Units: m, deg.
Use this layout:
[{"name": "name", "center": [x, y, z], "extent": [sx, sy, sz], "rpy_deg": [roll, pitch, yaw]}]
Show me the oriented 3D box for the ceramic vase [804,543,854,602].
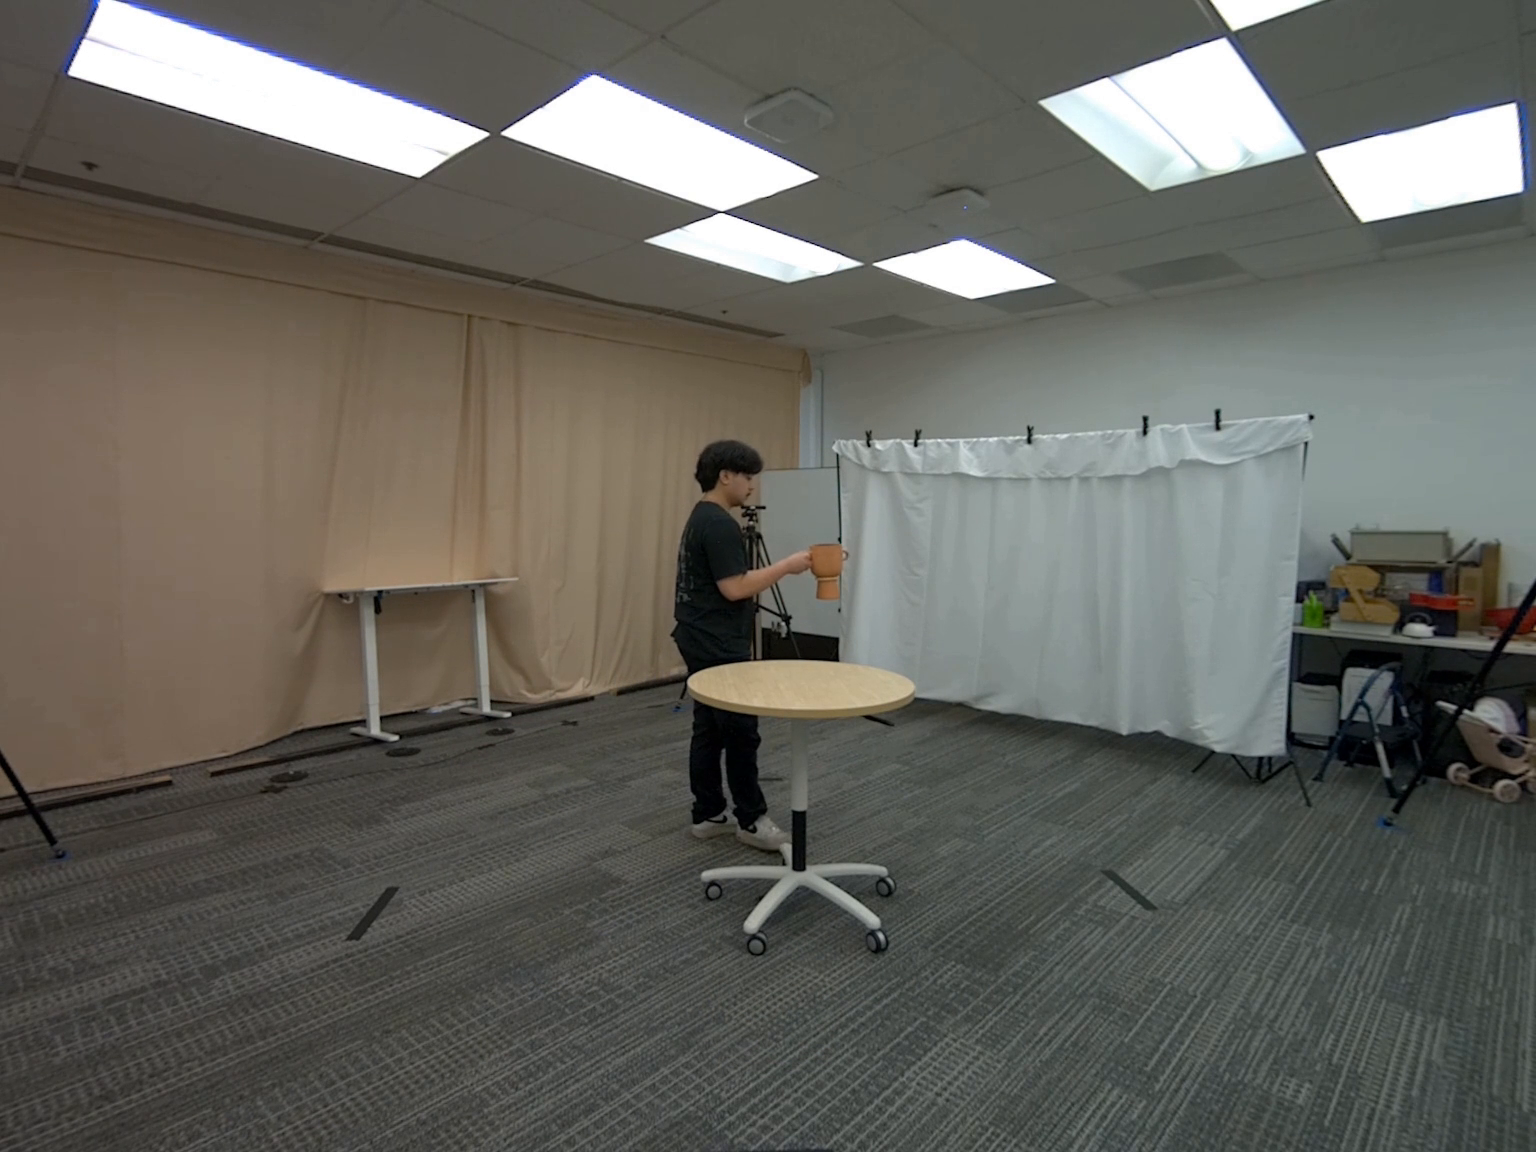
[{"name": "ceramic vase", "center": [0.247, -0.019, 3.448], "extent": [0.163, 0.219, 0.132], "rpy_deg": [0, 5, 24]}]
